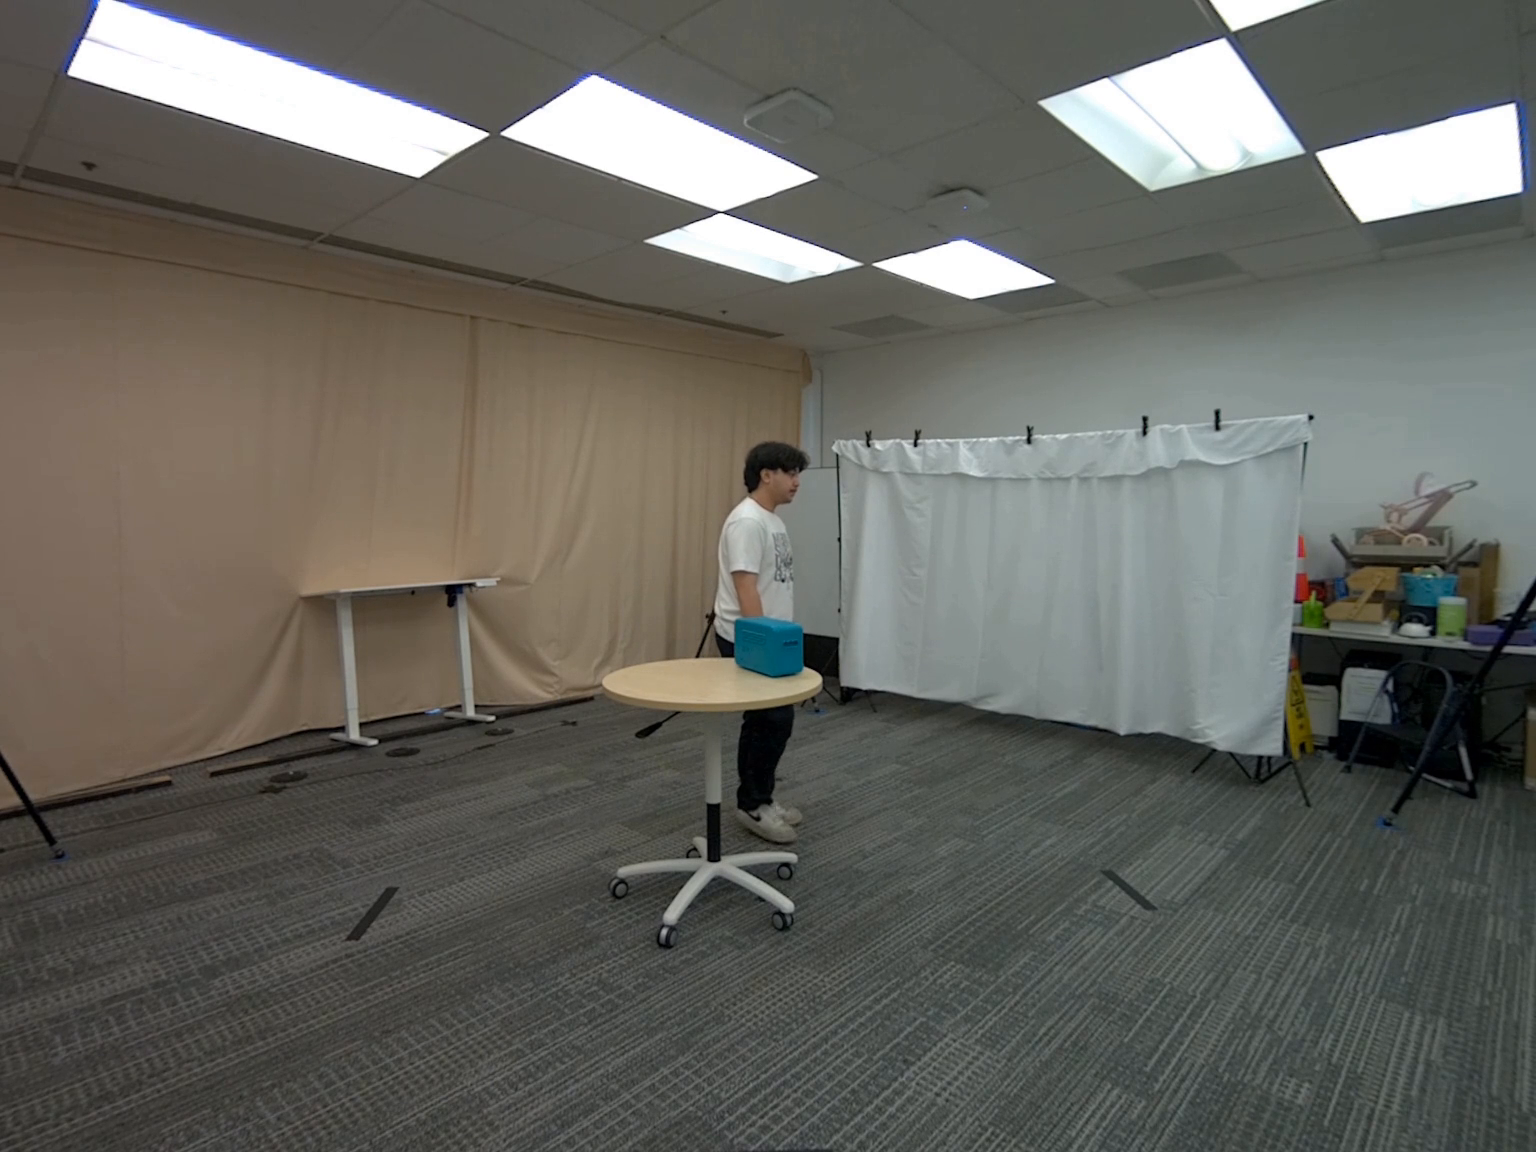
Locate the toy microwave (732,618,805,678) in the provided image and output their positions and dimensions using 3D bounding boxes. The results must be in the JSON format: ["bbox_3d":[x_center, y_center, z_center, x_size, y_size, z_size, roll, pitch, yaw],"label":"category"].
[{"bbox_3d":[0.010,0.253,3.064,0.148,0.184,0.294,-2,4,-31],"label":"toy microwave"}]
